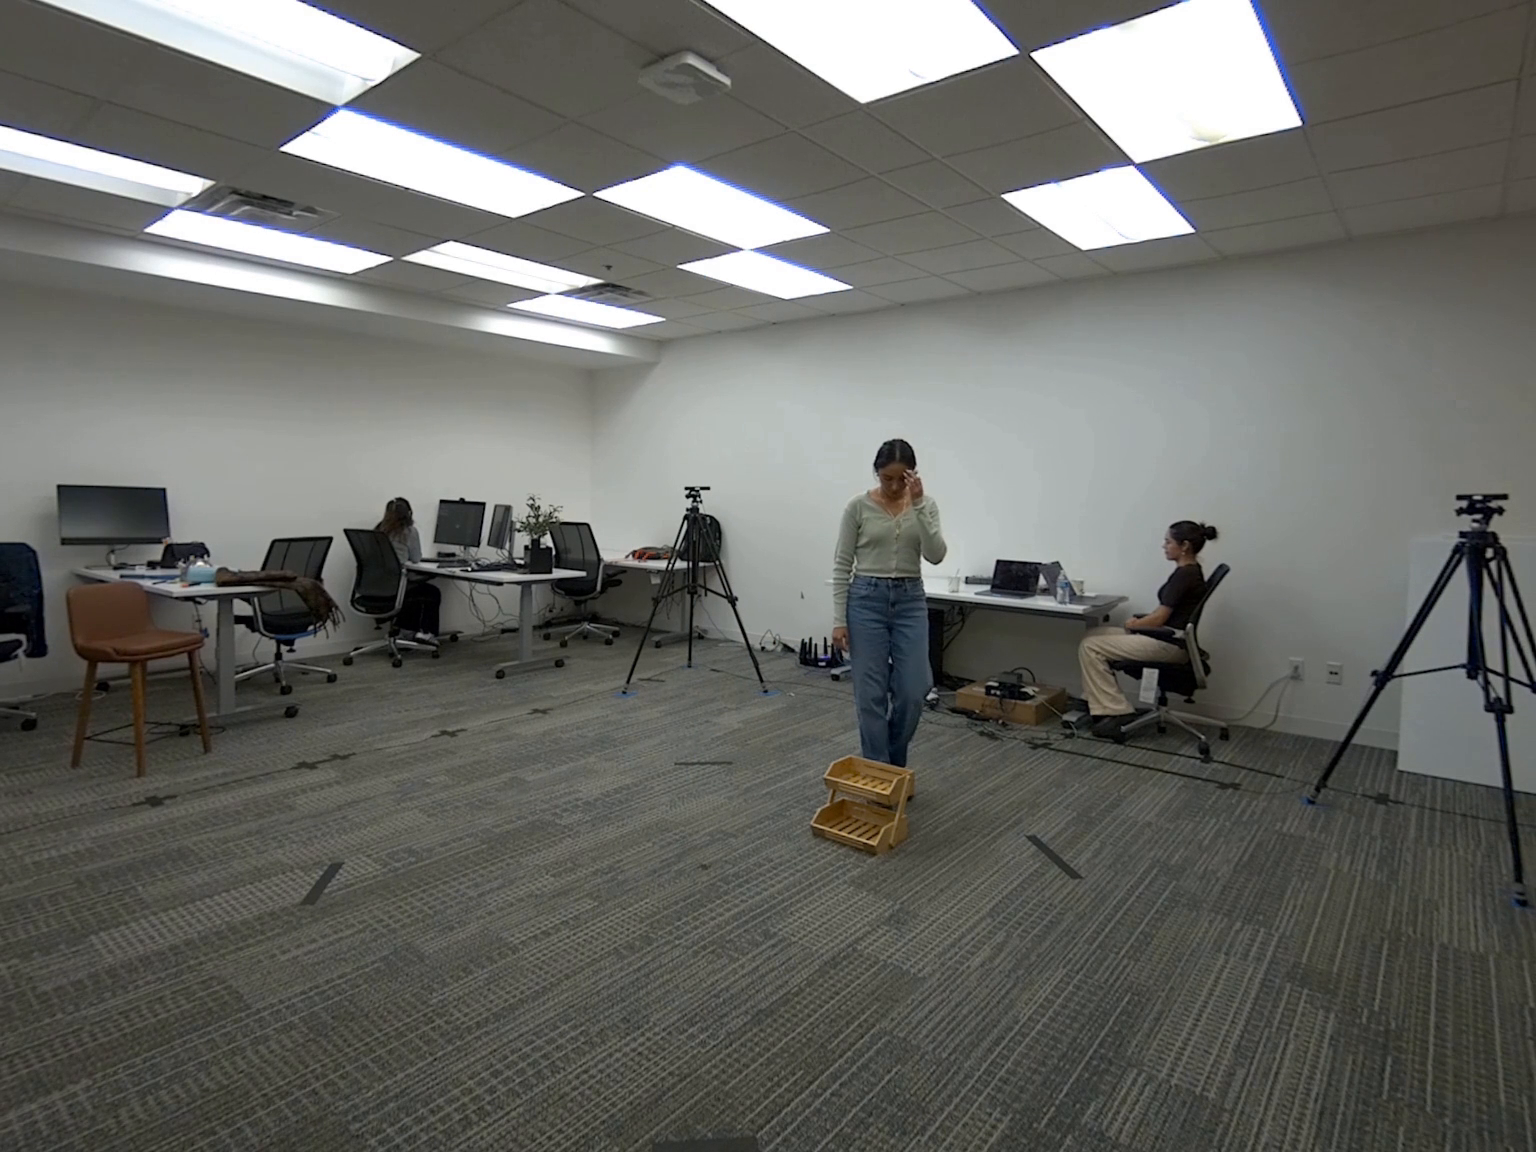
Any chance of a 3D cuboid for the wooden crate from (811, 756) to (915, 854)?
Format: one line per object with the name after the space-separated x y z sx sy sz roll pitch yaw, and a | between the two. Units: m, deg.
0.374 0.907 3.432 0.335 0.272 0.293 5 5 38 | wooden crate
